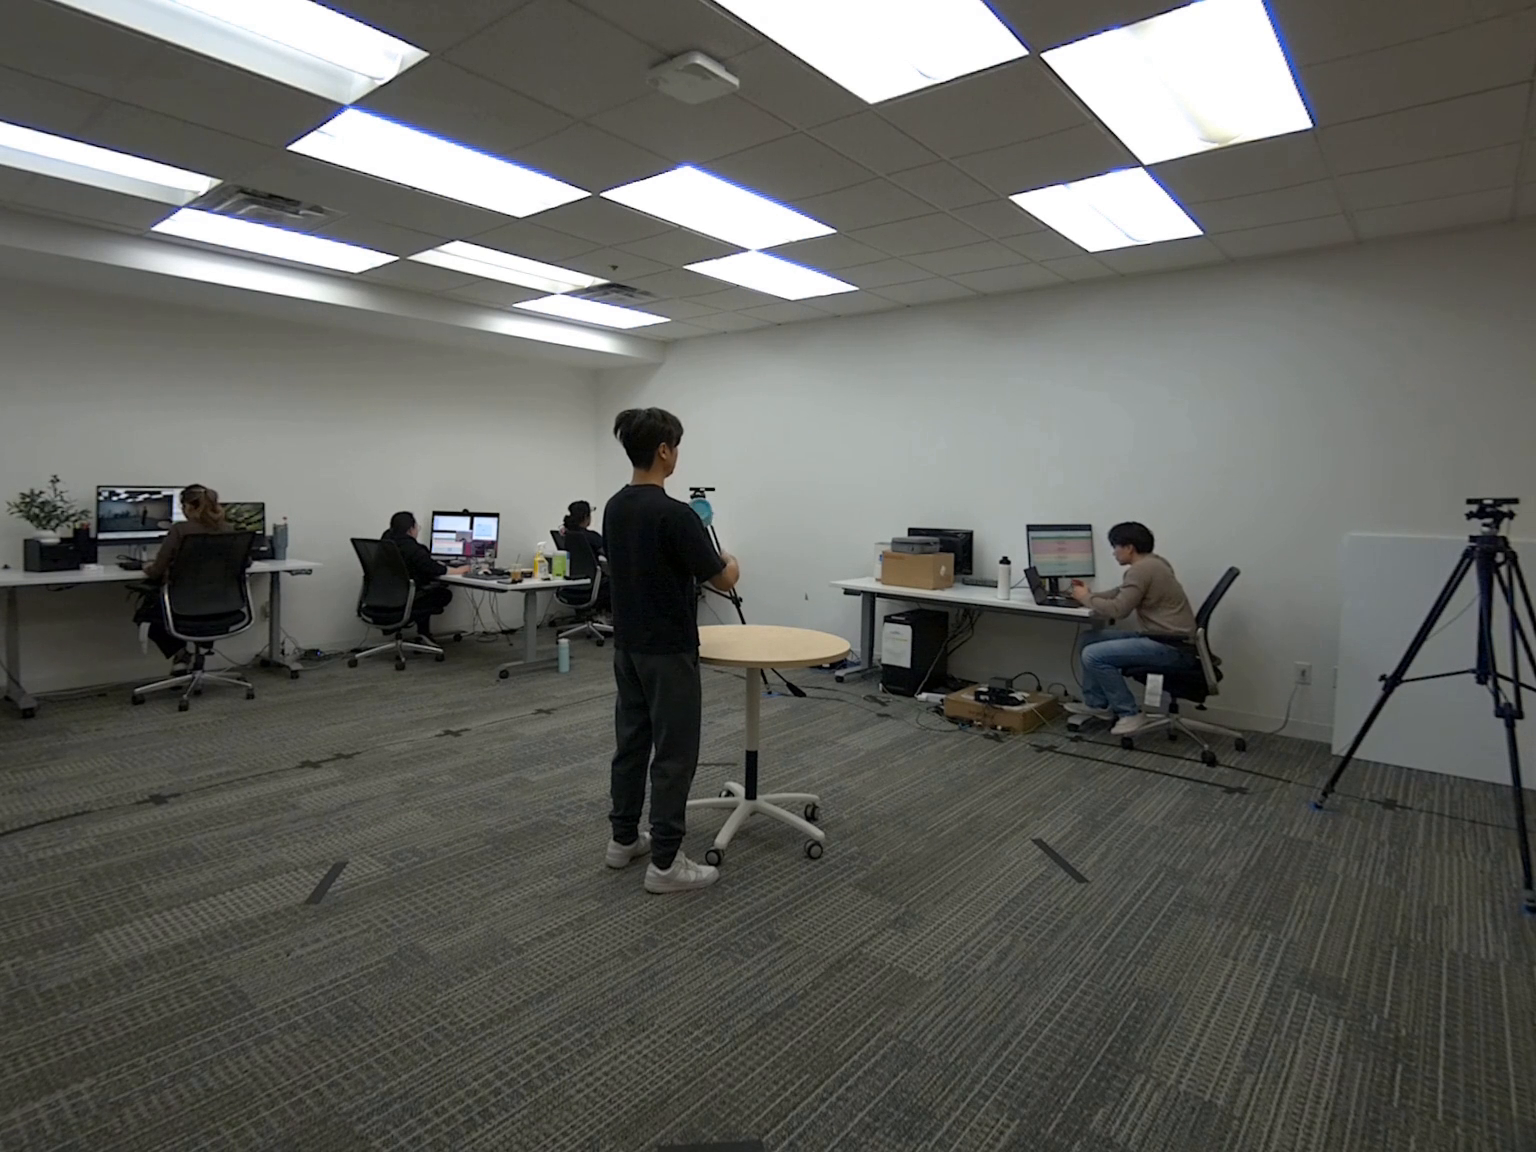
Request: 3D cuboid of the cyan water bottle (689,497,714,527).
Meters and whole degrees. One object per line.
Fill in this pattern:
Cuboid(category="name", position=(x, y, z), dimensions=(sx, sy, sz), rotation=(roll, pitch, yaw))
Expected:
Cuboid(category="cyan water bottle", position=(-0.281, -0.241, 3.378), dimensions=(0.092, 0.092, 0.282), rotation=(1, -1, 1))
